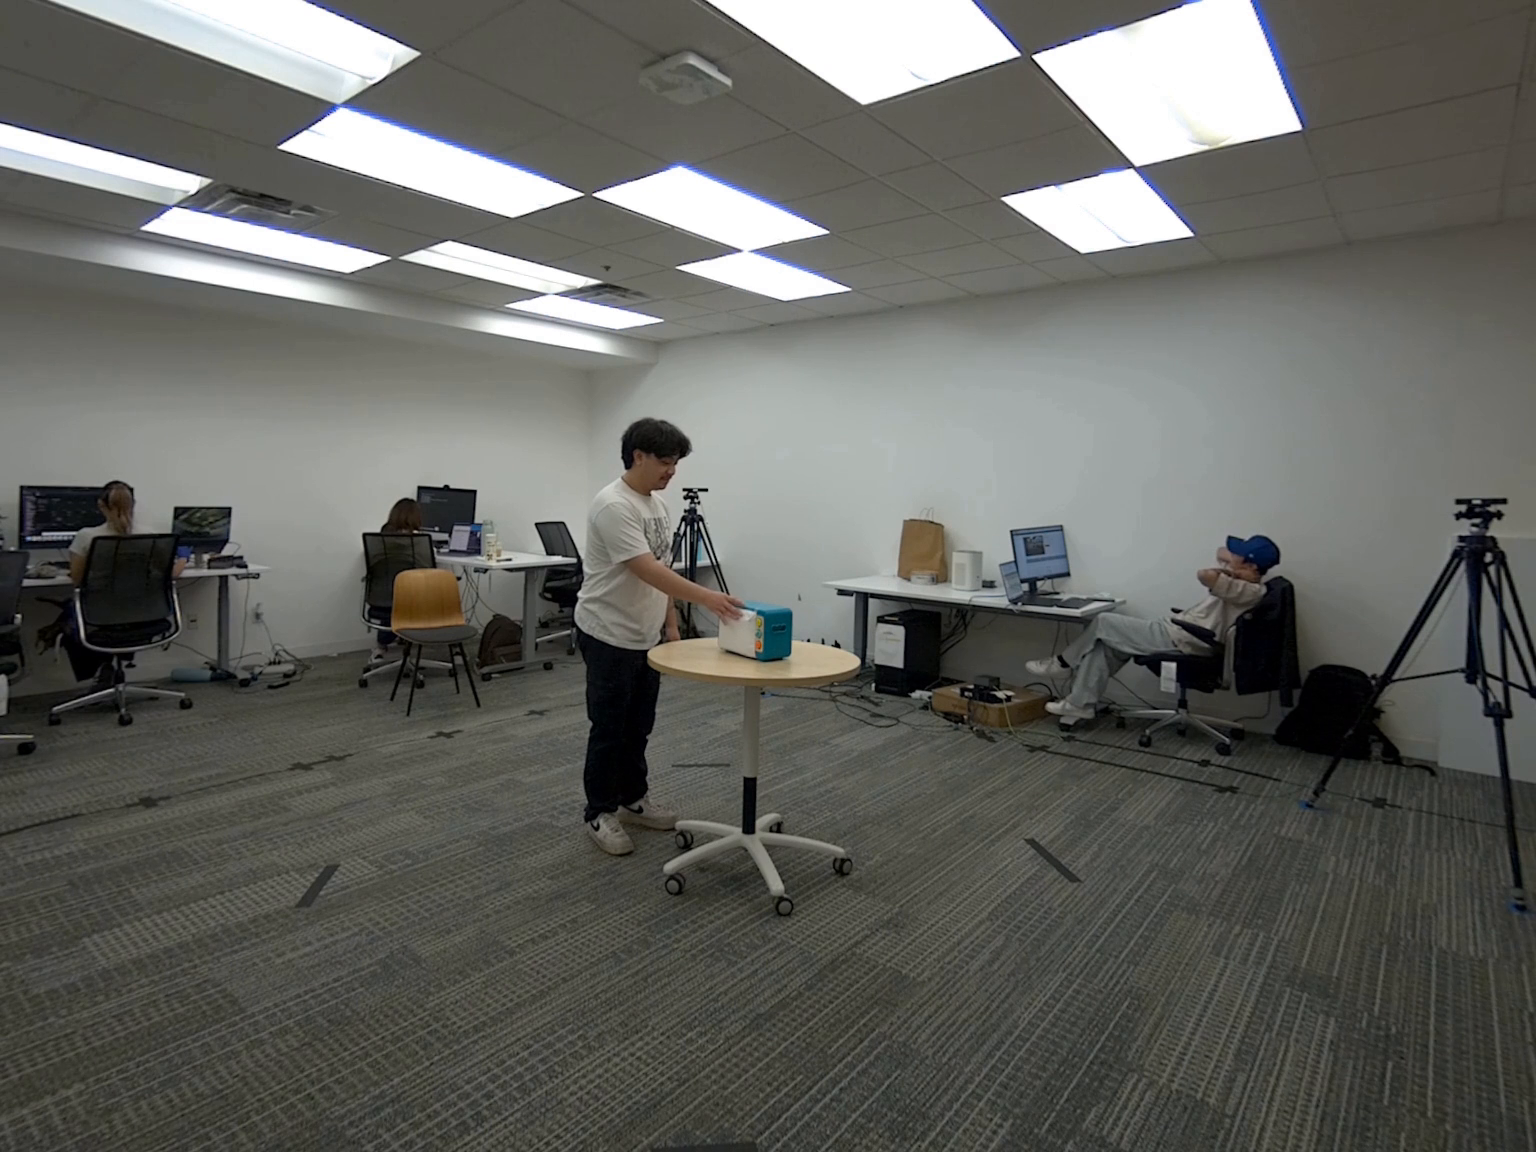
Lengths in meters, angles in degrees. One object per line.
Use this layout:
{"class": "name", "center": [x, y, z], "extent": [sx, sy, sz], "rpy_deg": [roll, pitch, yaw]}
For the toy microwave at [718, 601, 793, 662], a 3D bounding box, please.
{"class": "toy microwave", "center": [-0.063, 0.191, 3.081], "extent": [0.148, 0.183, 0.296], "rpy_deg": [-1, 6, -38]}
